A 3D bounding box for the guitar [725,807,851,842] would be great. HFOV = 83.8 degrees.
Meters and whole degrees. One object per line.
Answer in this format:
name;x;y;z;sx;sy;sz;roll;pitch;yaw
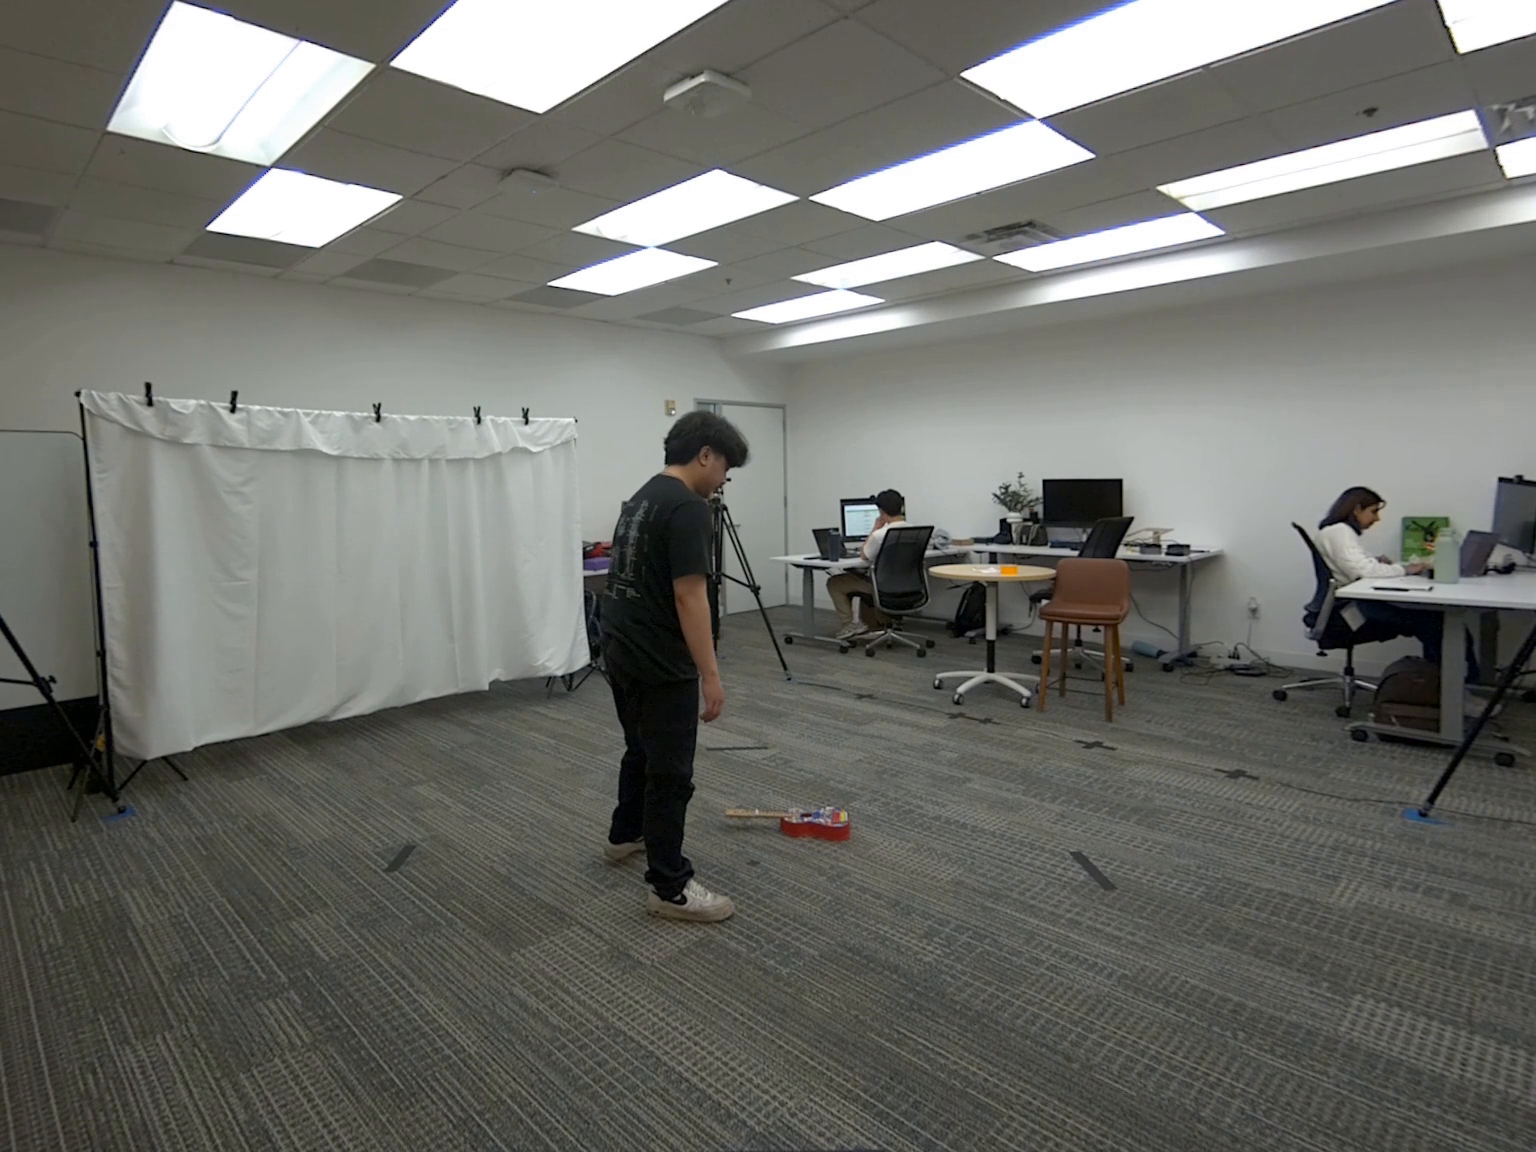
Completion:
guitar;0.084;0.969;3.420;0.505;0.070;0.191;2;7;15
